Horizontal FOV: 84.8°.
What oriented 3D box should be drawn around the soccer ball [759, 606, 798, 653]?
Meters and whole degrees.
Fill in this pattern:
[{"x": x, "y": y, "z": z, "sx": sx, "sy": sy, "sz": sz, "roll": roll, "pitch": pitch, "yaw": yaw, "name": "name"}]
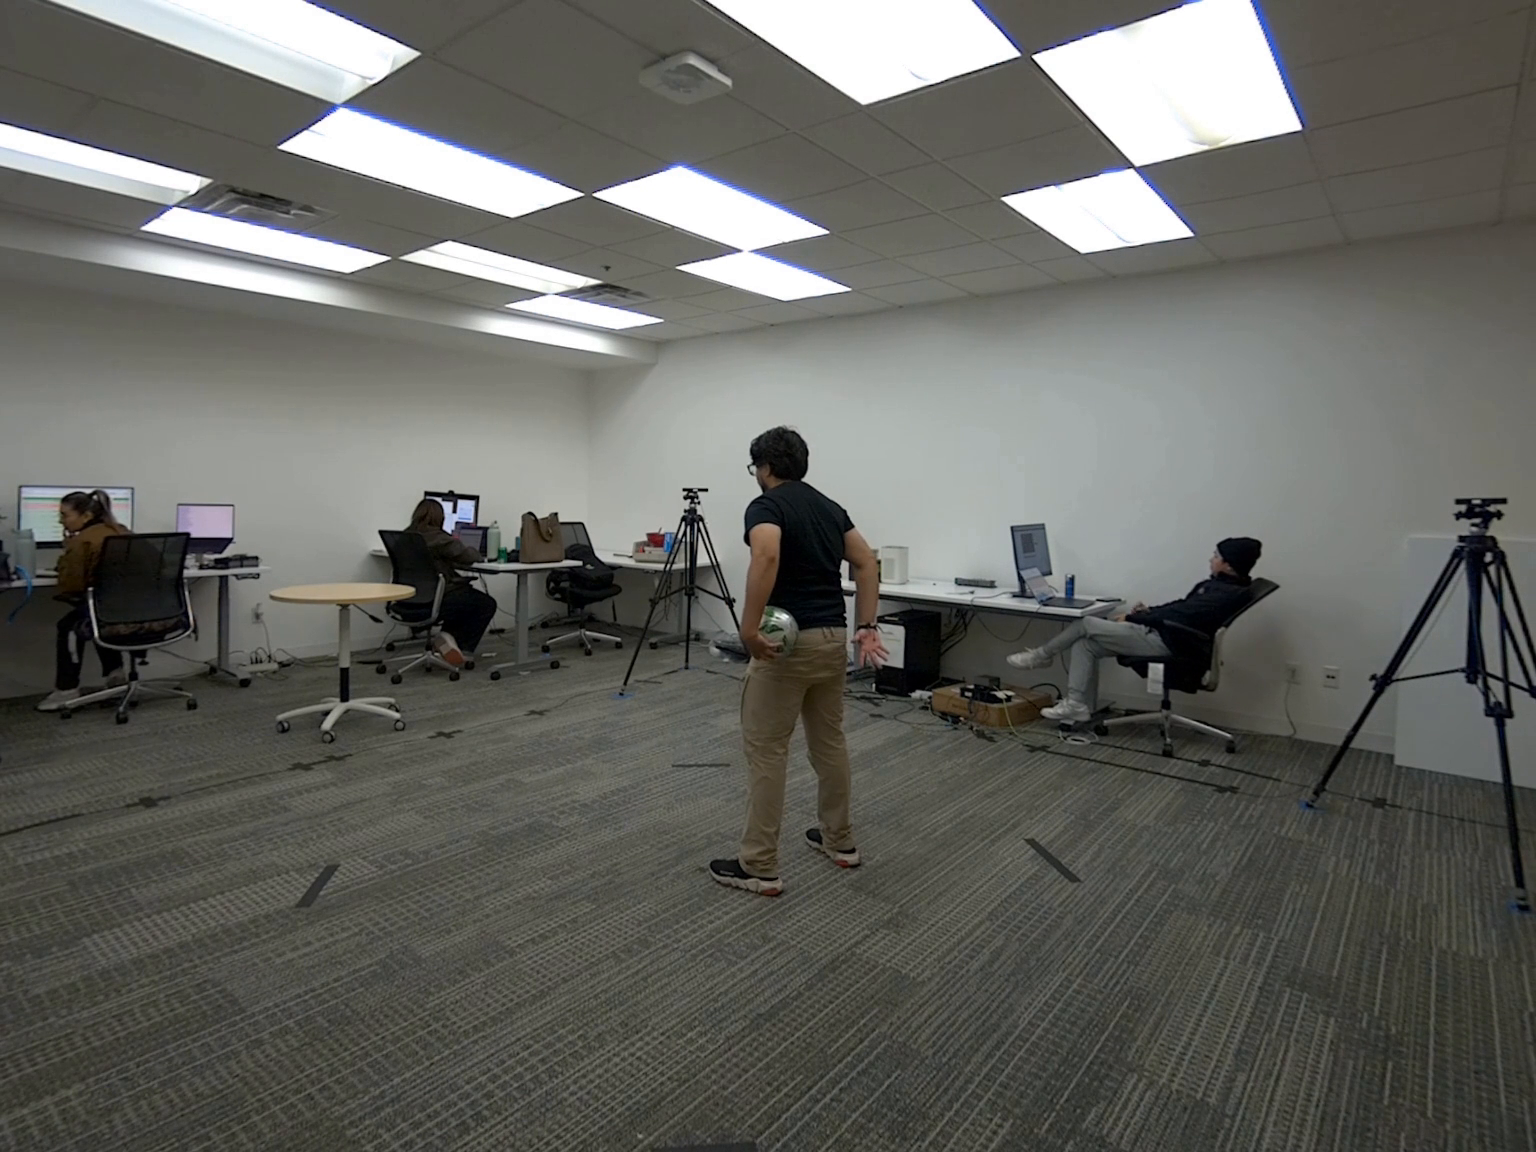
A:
[{"x": 0.009, "y": 0.191, "z": 2.916, "sx": 0.187, "sy": 0.187, "sz": 0.188, "roll": 1, "pitch": 4, "yaw": -2, "name": "soccer ball"}]
